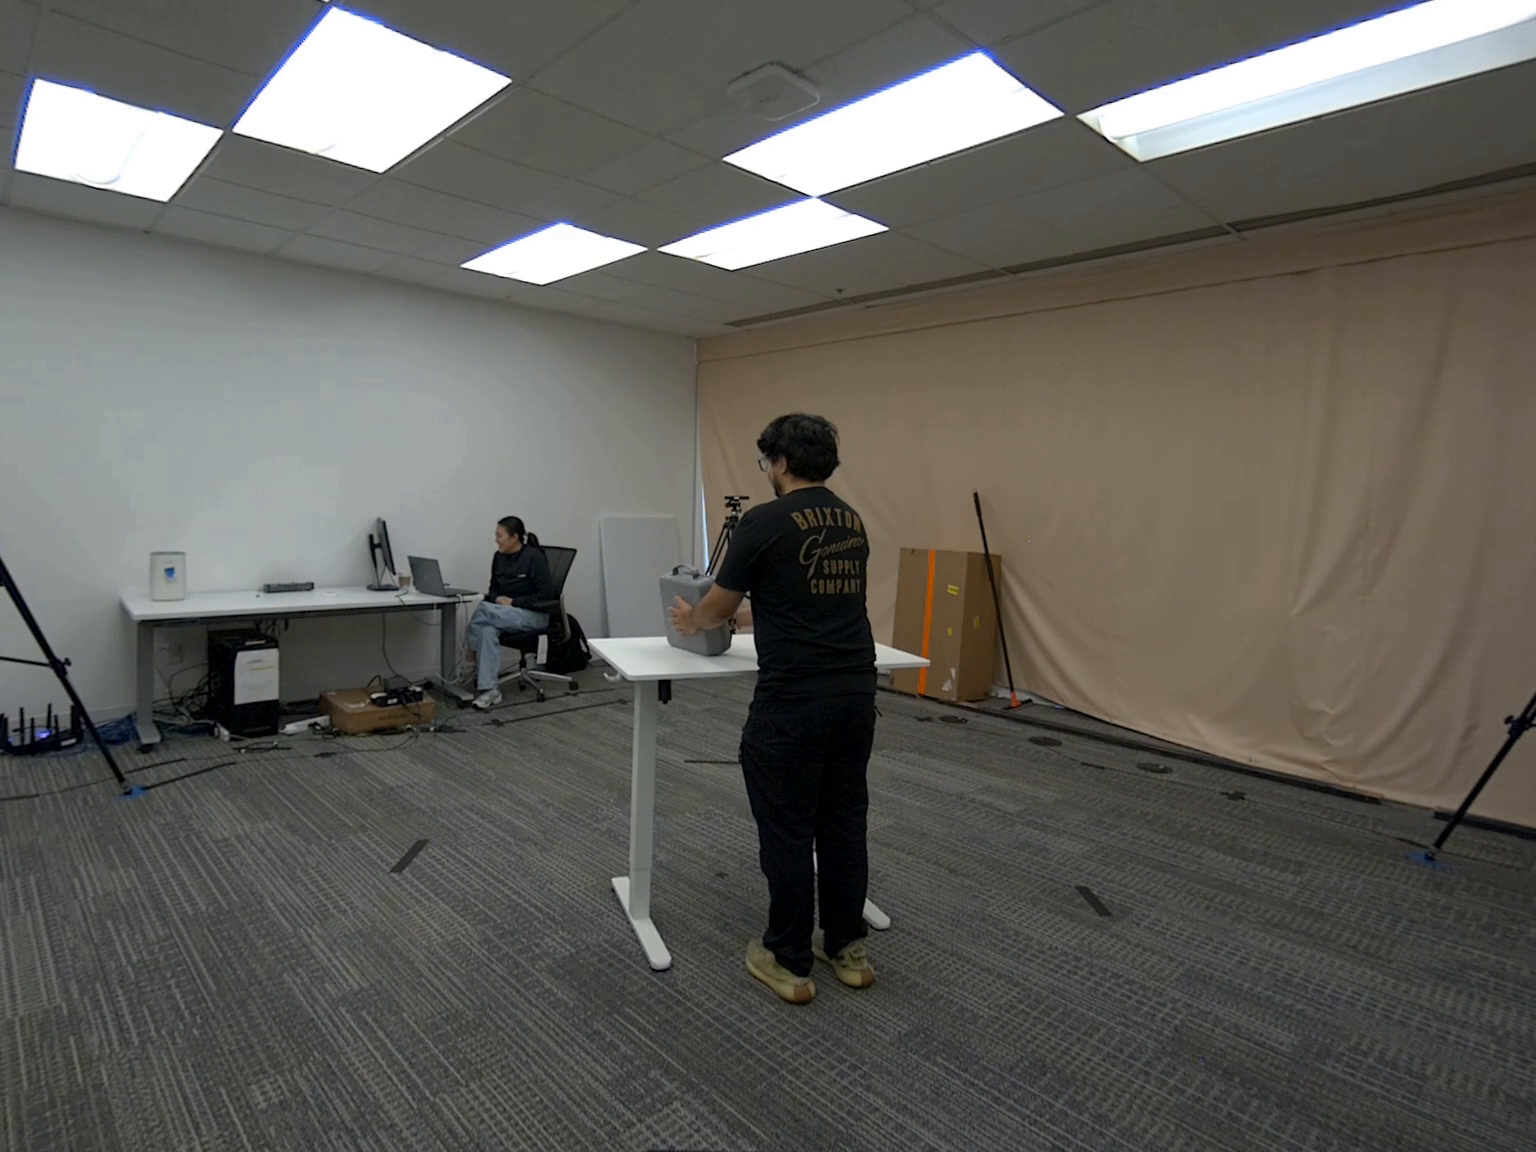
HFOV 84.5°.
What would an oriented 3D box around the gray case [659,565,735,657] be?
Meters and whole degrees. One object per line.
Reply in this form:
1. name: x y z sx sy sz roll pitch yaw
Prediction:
1. gray case: -0.253 0.120 2.761 0.103 0.258 0.263 -15 14 -34
